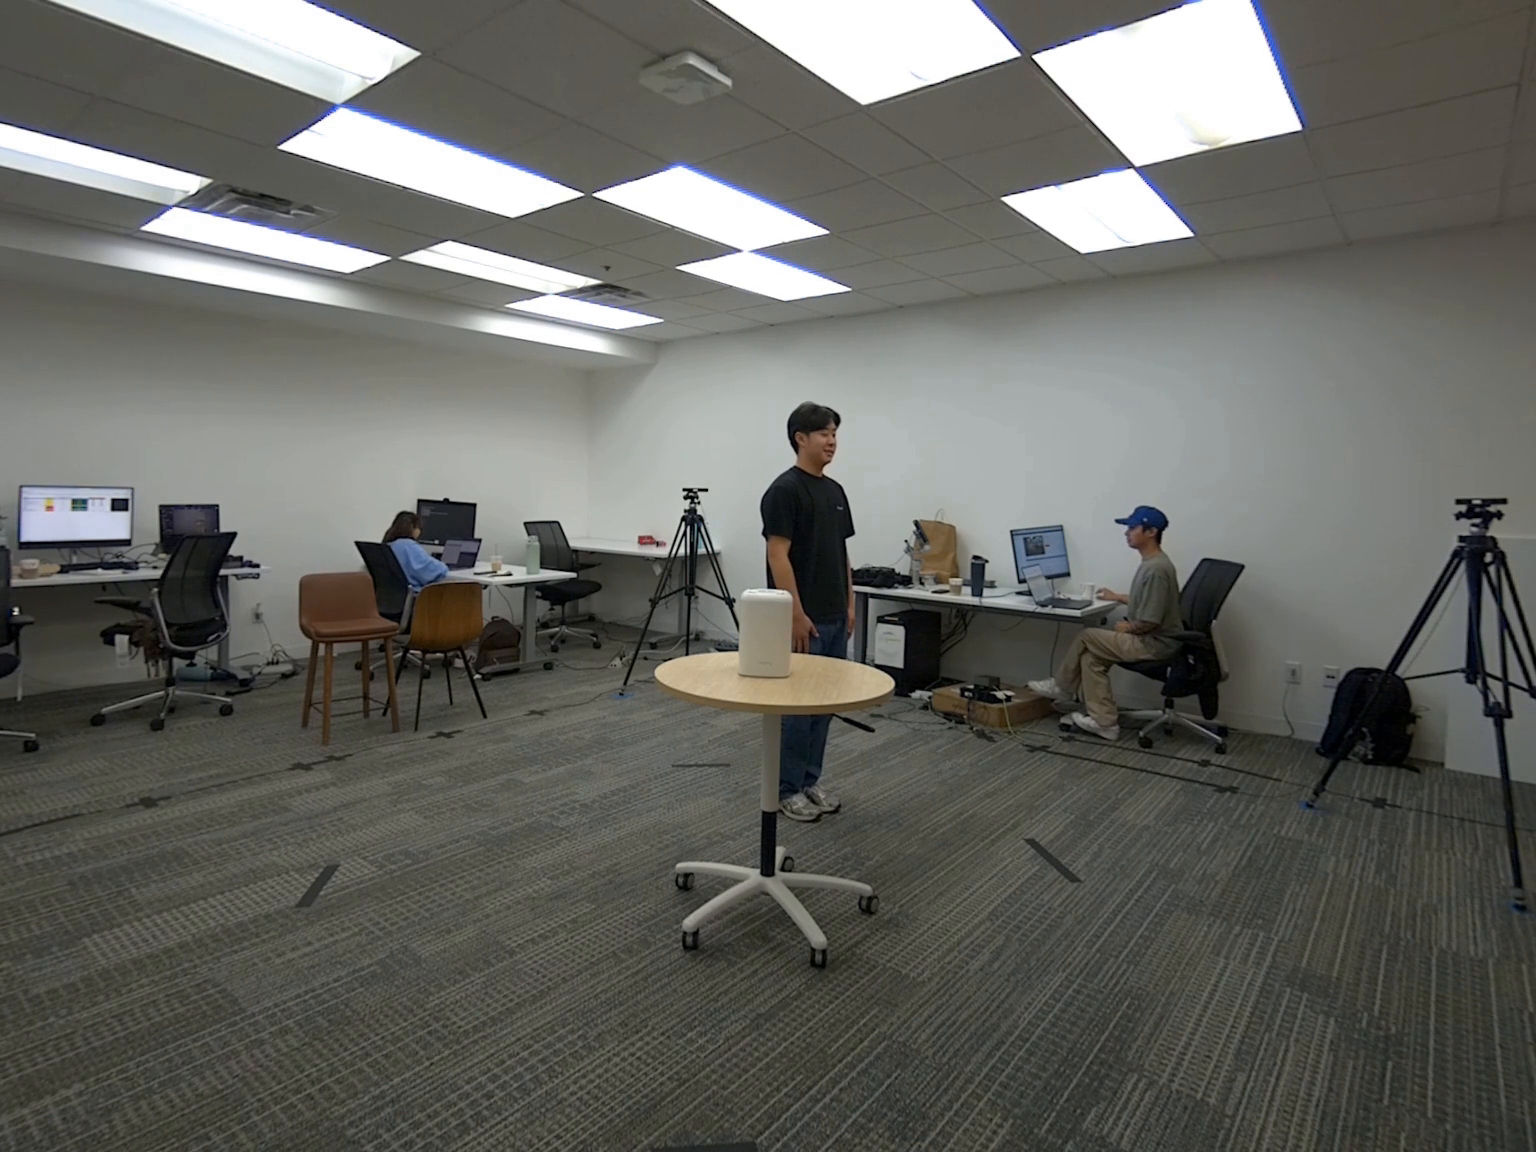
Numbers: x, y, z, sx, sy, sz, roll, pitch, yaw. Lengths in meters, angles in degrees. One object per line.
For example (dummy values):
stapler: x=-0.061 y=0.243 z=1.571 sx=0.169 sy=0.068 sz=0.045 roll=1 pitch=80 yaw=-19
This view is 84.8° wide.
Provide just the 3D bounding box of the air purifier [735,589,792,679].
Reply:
air purifier: x=-0.015 y=0.180 z=2.759 sx=0.172 sy=0.265 sz=0.171 roll=3 pitch=2 yaw=3
